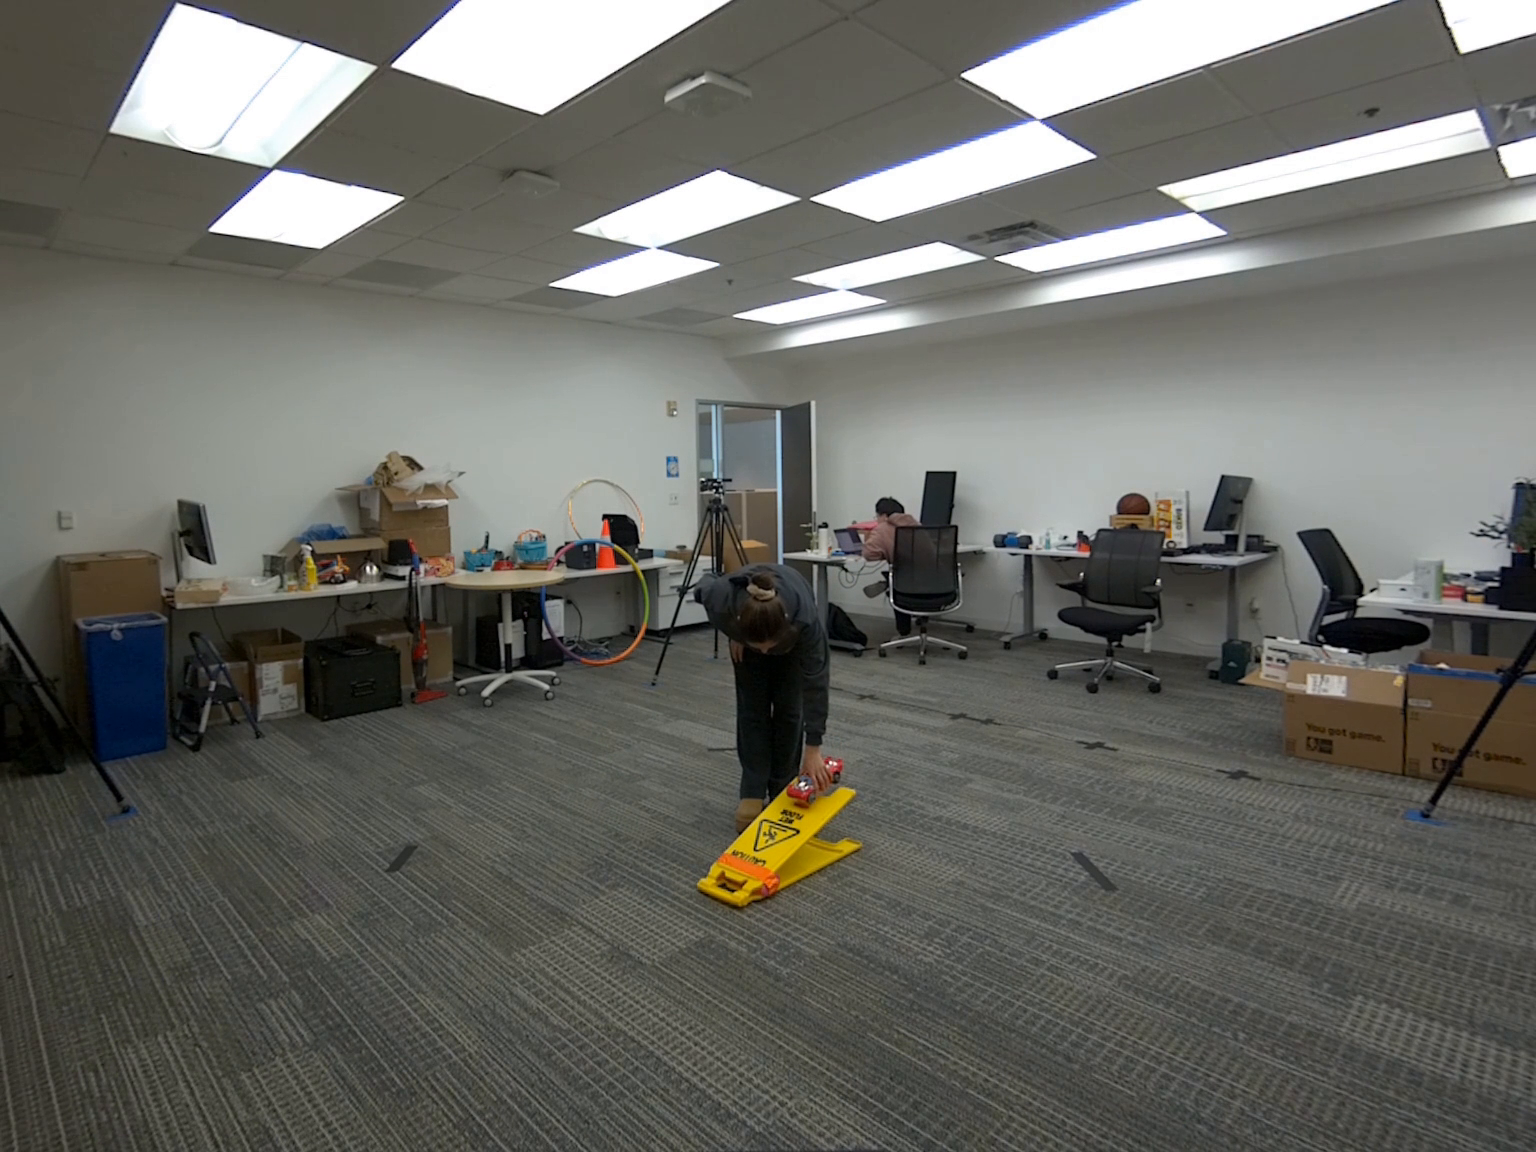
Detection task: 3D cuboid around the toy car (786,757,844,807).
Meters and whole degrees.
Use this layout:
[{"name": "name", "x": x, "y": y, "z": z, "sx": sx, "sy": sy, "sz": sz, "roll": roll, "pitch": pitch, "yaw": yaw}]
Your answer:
[{"name": "toy car", "x": 0.185, "y": 0.776, "z": 3.203, "sx": 0.134, "sy": 0.081, "sz": 0.253, "roll": 1, "pitch": 32, "yaw": 46}]
